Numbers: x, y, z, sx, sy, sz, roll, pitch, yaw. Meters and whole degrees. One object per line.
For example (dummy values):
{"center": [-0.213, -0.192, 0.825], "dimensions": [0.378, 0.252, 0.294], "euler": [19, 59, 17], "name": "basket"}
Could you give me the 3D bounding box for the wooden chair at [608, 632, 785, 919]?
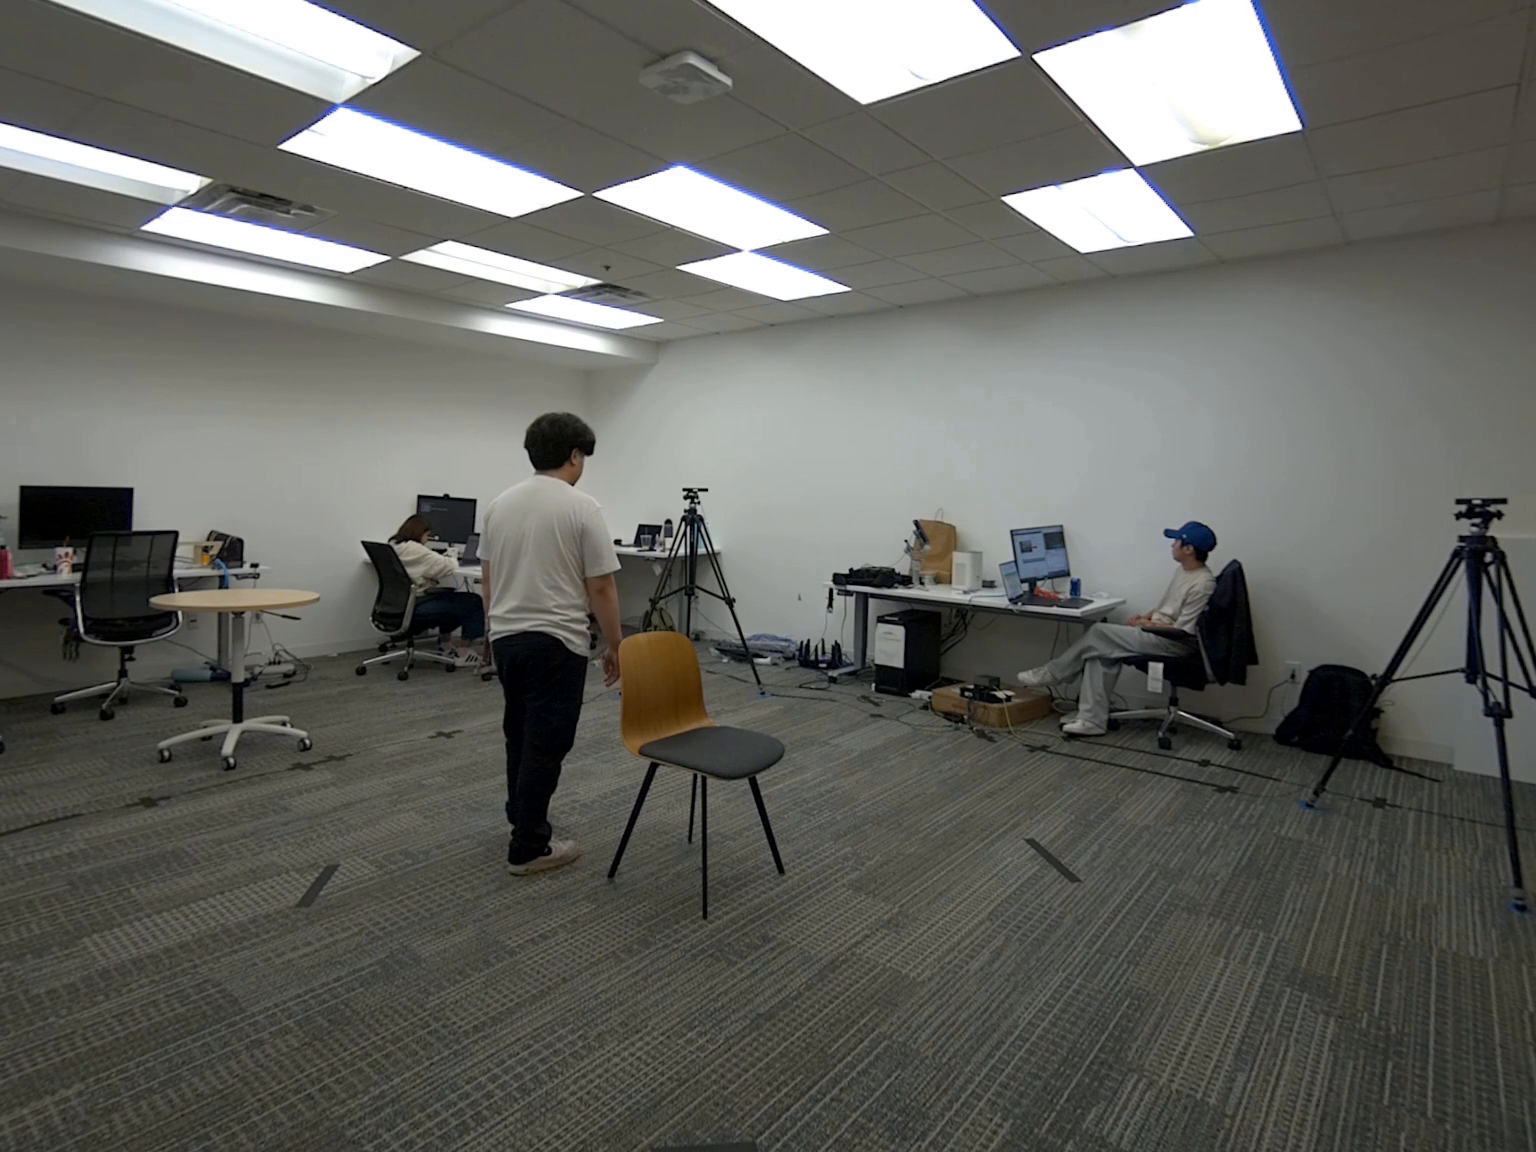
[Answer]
{"center": [-0.247, 0.650, 3.020], "dimensions": [0.539, 0.878, 0.464], "euler": [-2, 0, 37], "name": "wooden chair"}
